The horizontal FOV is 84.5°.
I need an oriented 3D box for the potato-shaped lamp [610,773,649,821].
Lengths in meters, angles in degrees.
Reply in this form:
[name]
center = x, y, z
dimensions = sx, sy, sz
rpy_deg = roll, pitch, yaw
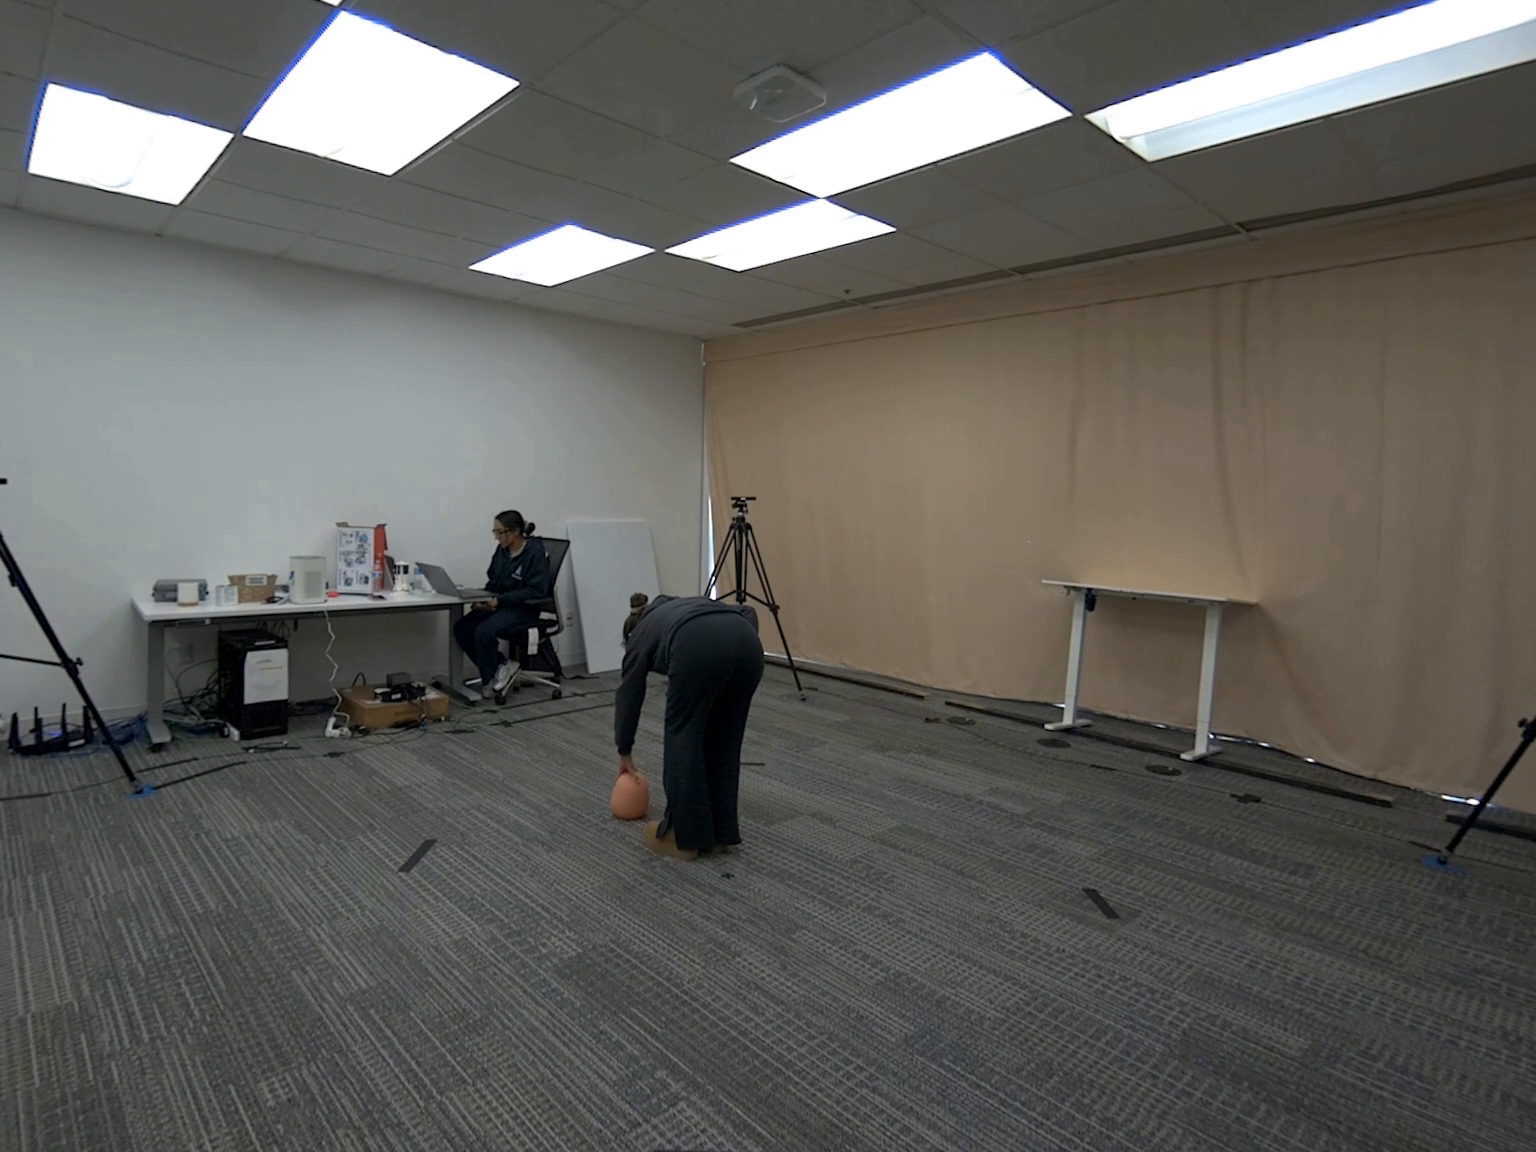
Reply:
[potato-shaped lamp]
center = -0.613, 0.950, 3.674
dimensions = 0.162, 0.197, 0.175
rpy_deg = -1, 10, -26
